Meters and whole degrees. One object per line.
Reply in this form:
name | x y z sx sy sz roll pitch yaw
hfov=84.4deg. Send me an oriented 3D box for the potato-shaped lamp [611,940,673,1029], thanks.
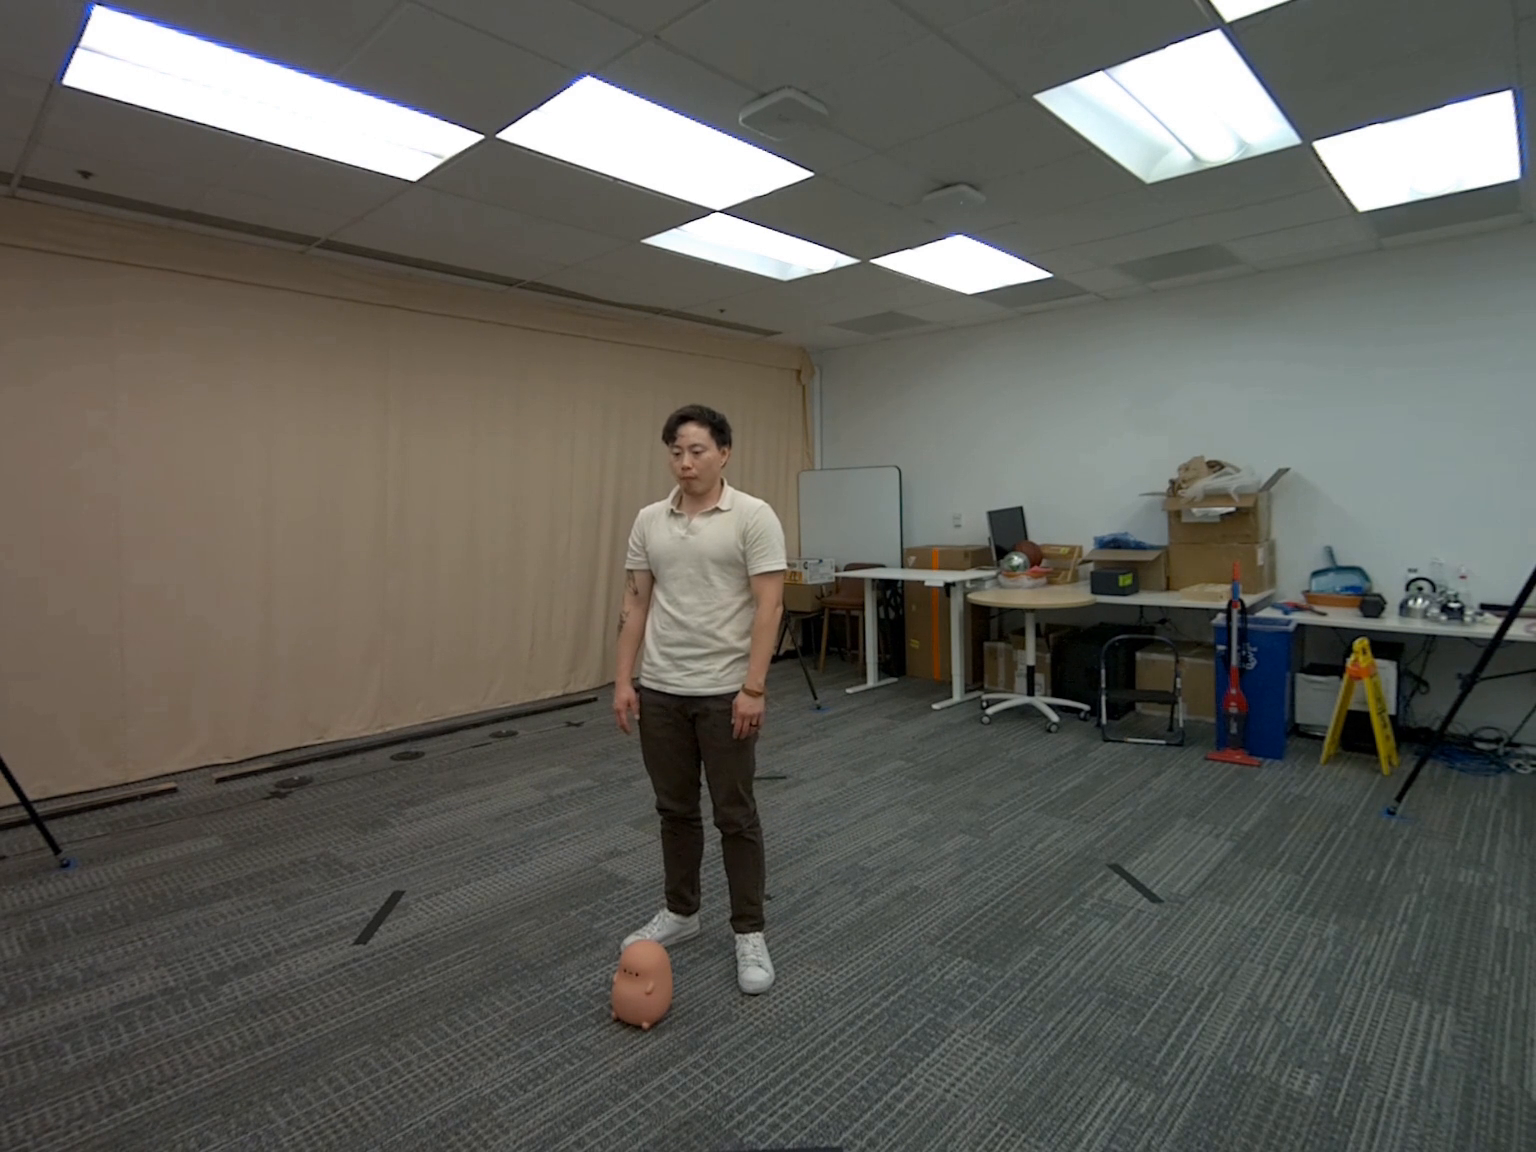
potato-shaped lamp | -0.347 1.106 2.305 0.169 0.198 0.167 -3 3 31
